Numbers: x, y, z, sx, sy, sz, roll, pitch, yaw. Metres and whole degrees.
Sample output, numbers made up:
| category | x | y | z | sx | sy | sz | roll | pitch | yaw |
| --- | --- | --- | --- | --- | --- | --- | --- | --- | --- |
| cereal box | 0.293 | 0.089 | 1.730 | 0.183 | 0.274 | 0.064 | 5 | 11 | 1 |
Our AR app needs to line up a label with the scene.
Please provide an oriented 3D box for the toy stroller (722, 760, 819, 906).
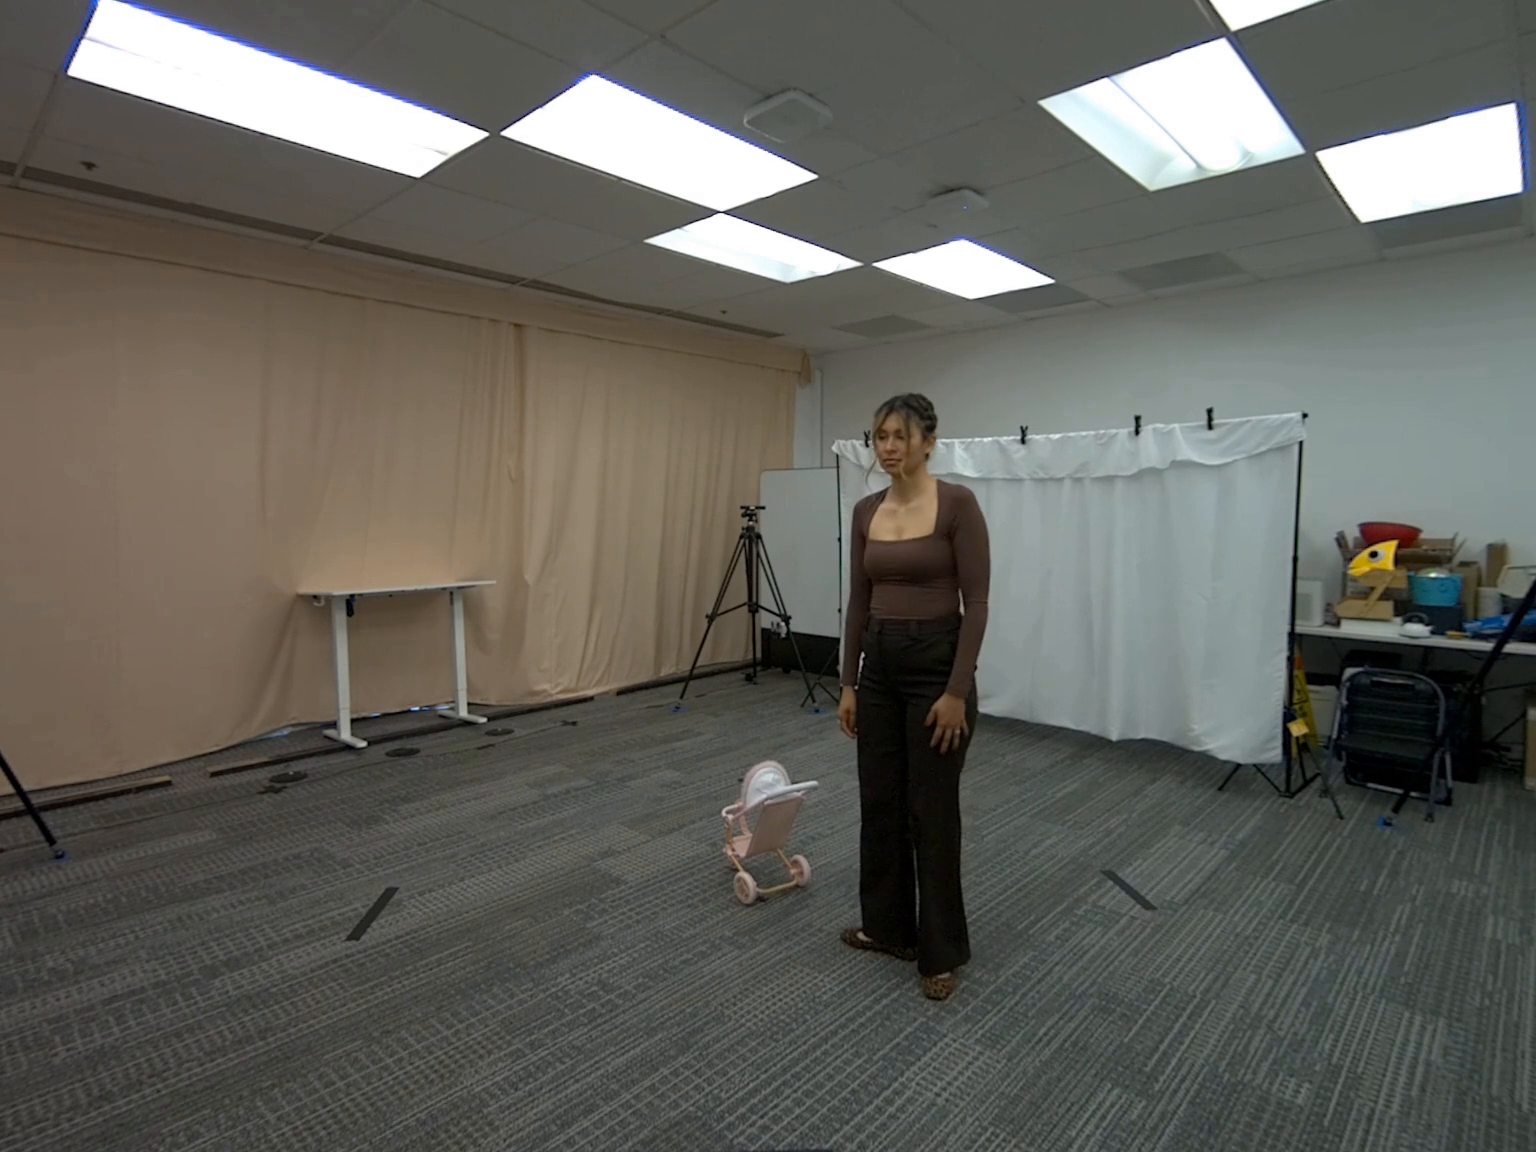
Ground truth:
| category | x | y | z | sx | sy | sz | roll | pitch | yaw |
| --- | --- | --- | --- | --- | --- | --- | --- | --- | --- |
| toy stroller | -0.015 | 0.909 | 3.063 | 0.274 | 0.531 | 0.353 | -2 | 19 | -31 |
